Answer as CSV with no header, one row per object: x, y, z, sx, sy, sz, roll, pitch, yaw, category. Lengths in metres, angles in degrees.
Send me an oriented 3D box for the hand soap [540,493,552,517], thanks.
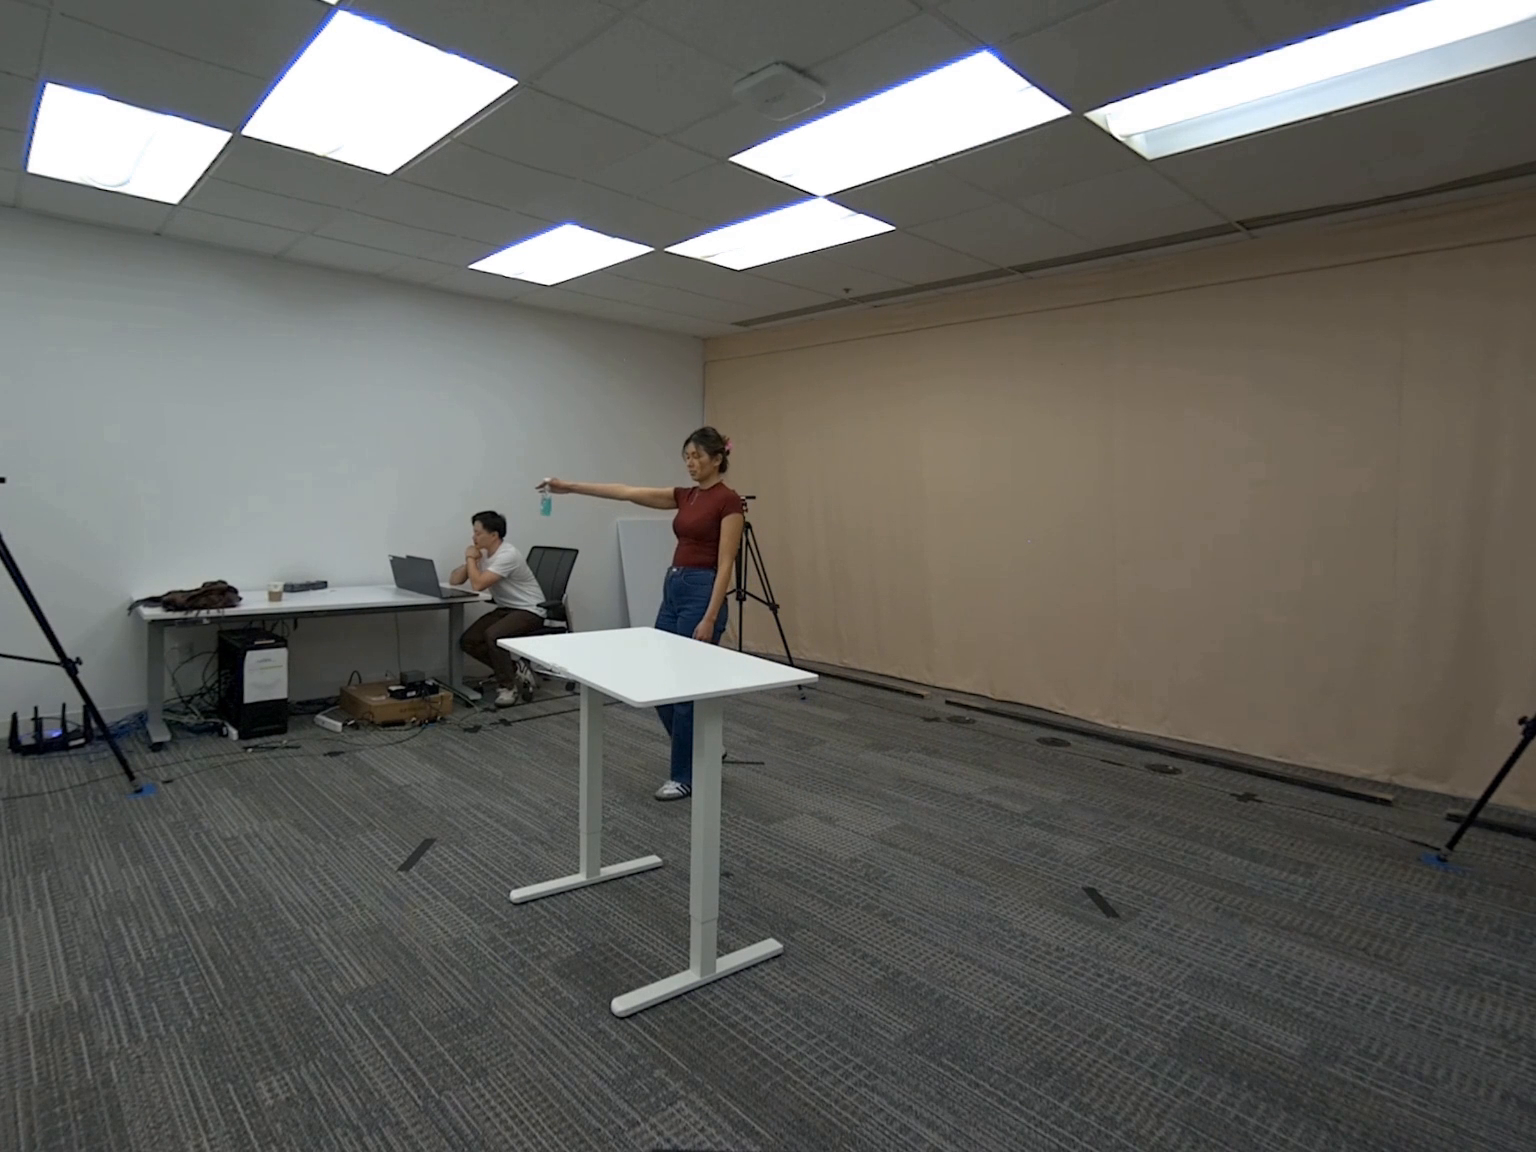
-1.011,-0.359,3.810,0.042,0.167,0.087,0,10,-33,hand soap
